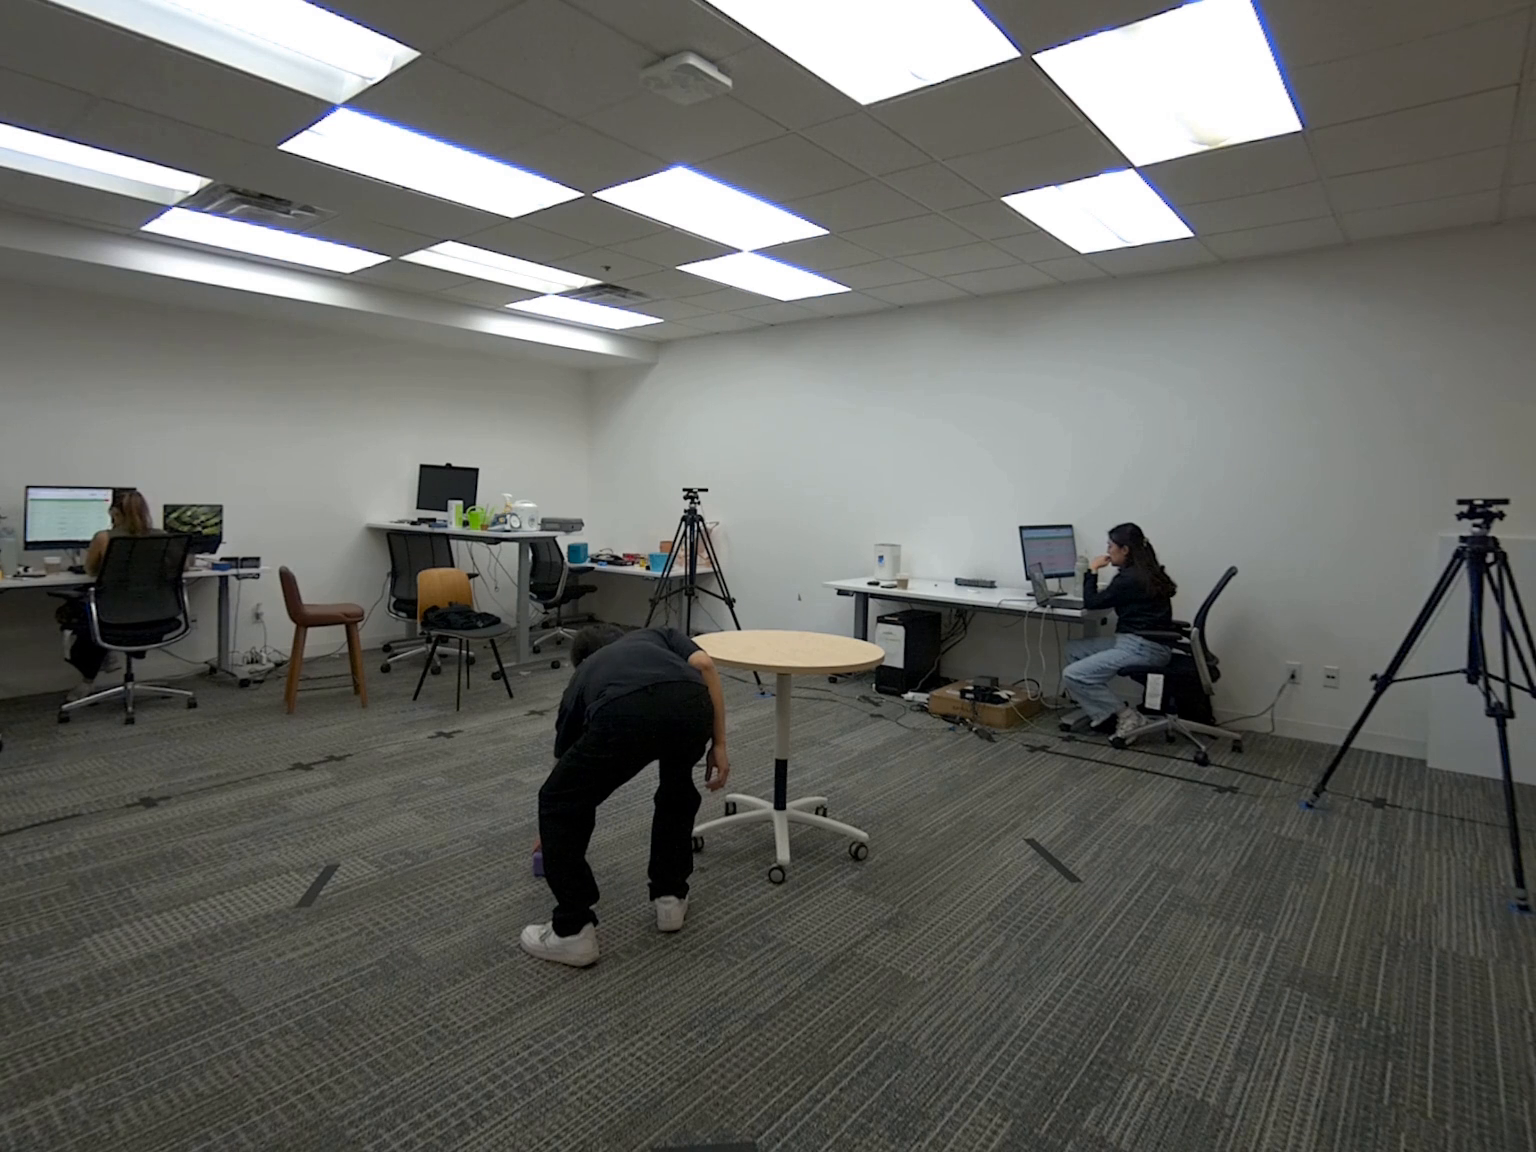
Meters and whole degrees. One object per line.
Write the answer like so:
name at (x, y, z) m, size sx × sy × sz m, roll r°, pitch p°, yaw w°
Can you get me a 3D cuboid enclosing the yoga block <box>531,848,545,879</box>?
yoga block at (-0.785, 1.017, 3.134) m, size 0.148 × 0.076 × 0.232 m, roll 0°, pitch 6°, yaw -8°
